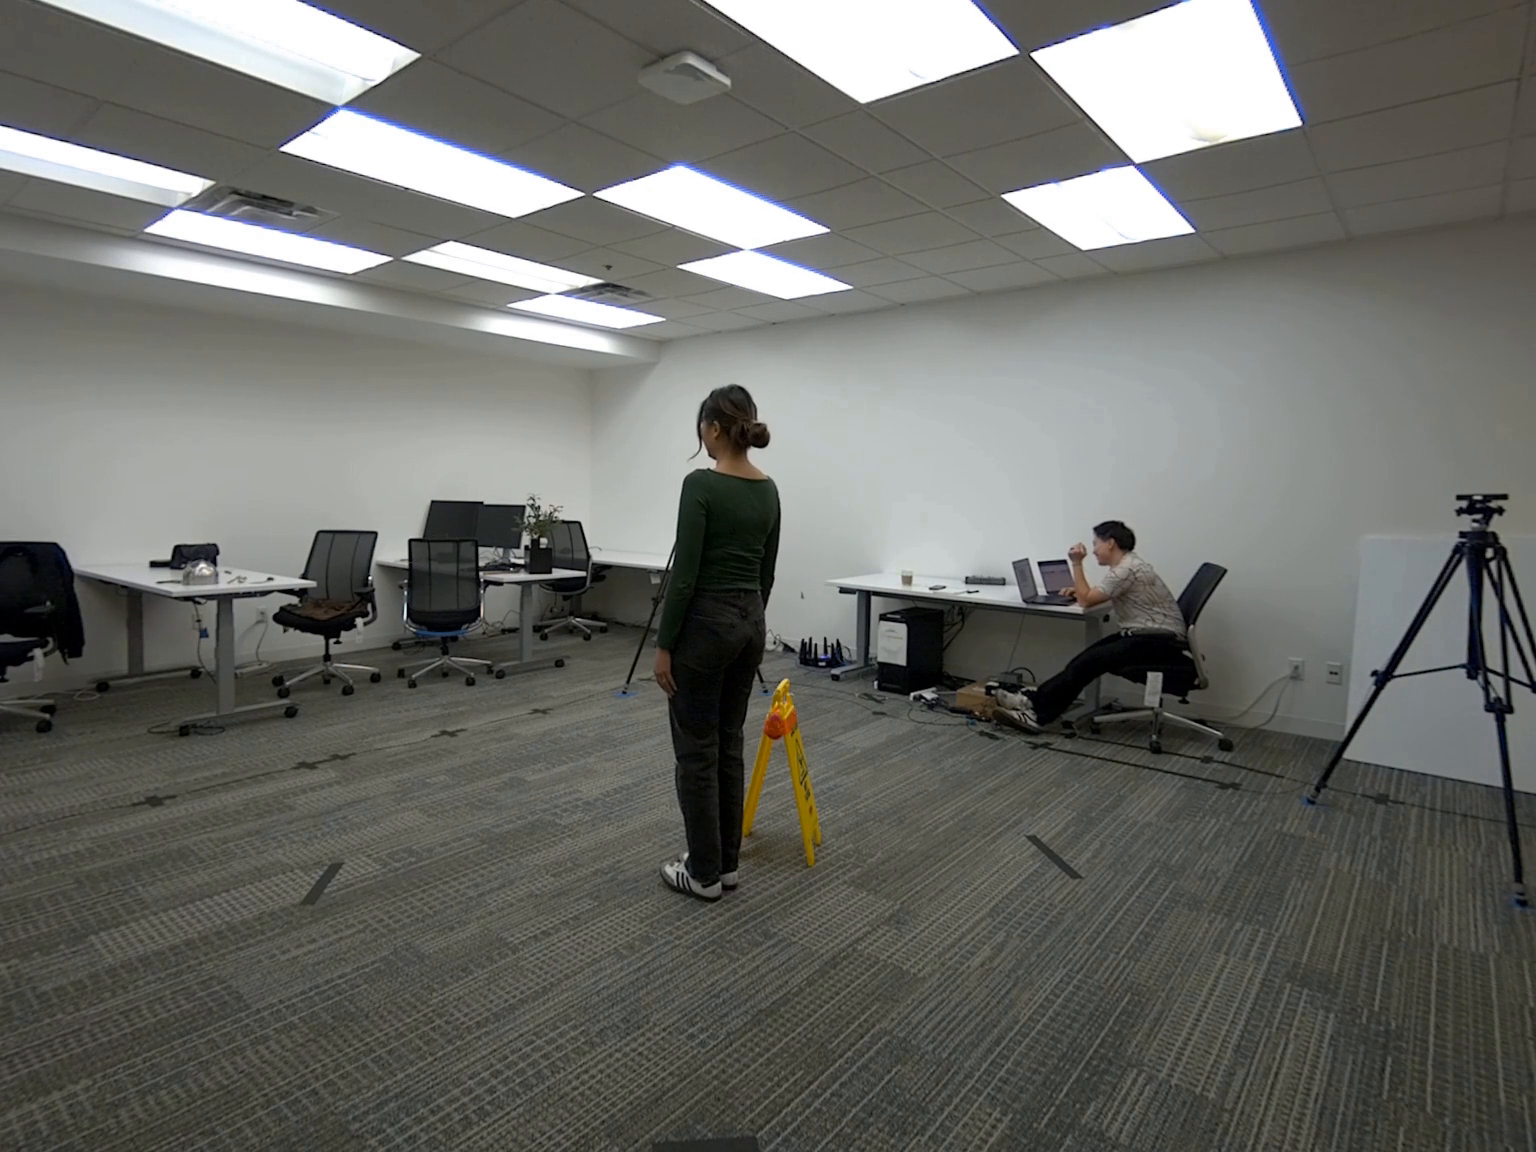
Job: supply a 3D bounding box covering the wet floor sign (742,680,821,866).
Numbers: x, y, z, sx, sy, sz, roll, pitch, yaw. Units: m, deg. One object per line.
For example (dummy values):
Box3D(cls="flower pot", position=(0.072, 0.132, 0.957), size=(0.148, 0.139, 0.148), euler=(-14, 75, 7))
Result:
Box3D(cls="wet floor sign", position=(0.036, 0.729, 3.284), size=(0.294, 0.645, 0.278), euler=(1, 2, 13))
